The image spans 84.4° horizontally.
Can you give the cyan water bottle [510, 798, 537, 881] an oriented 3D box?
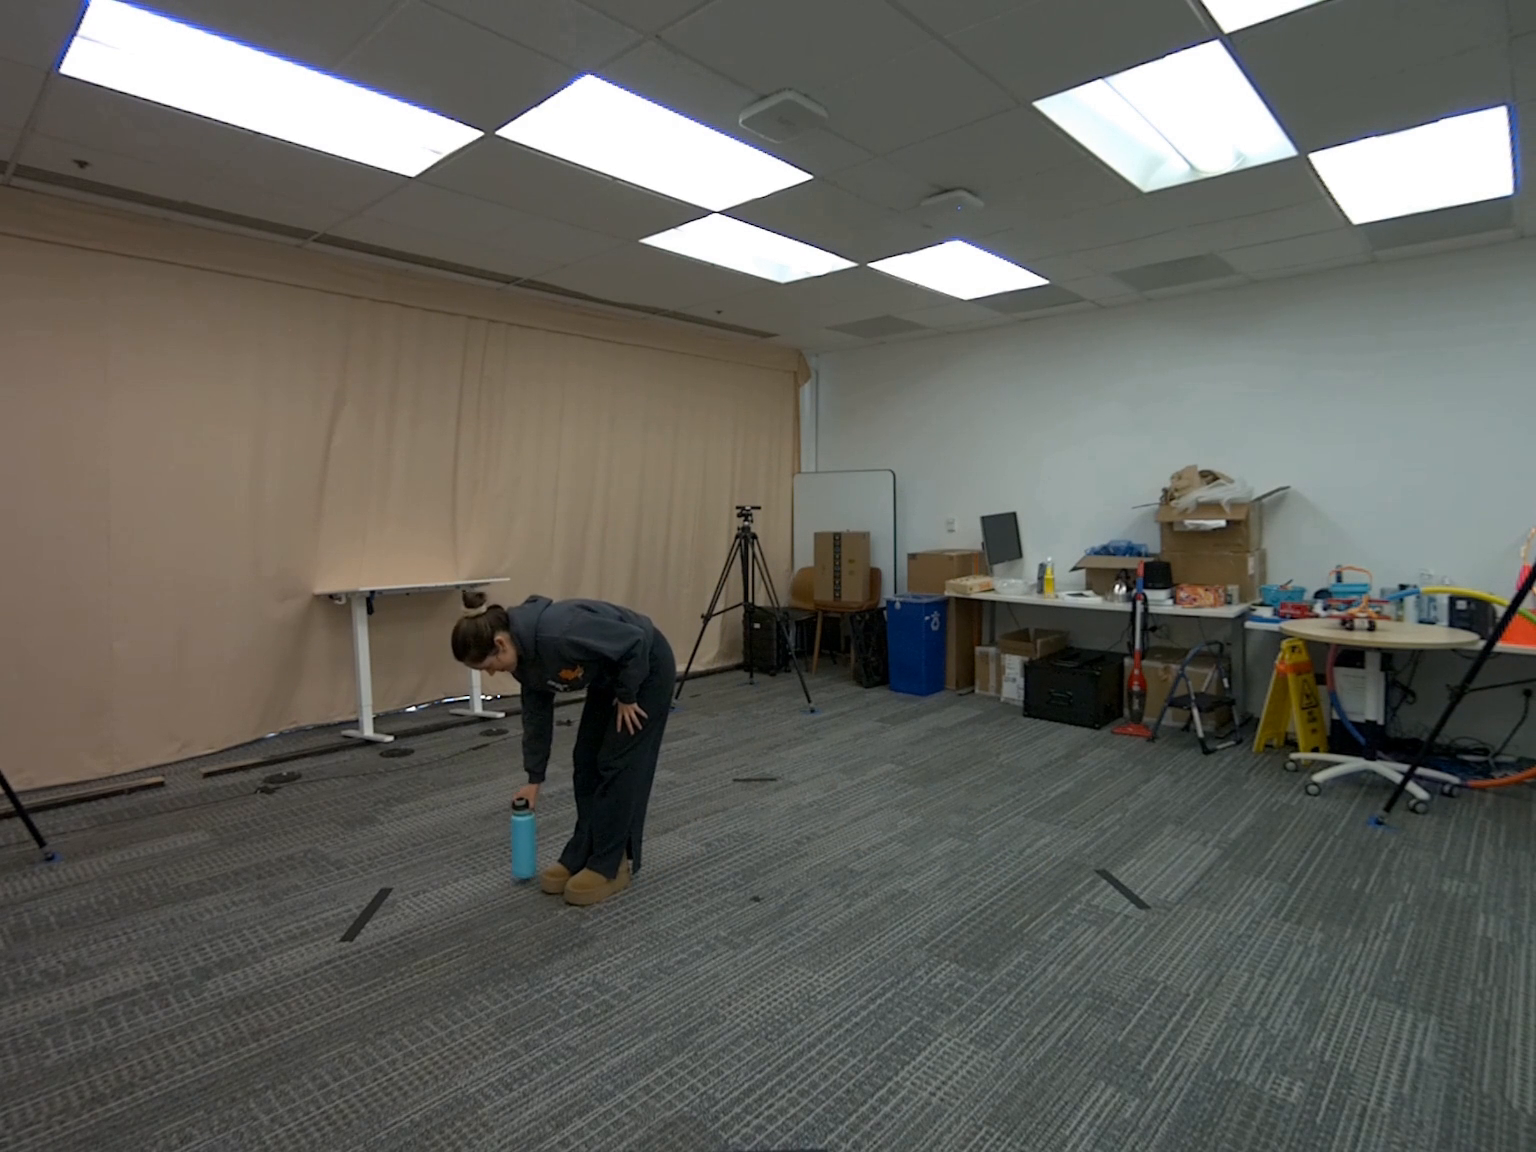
[{"bbox_3d":[-0.892,0.958,3.126,0.092,0.283,0.092,0,2,-2],"label":"cyan water bottle"}]
